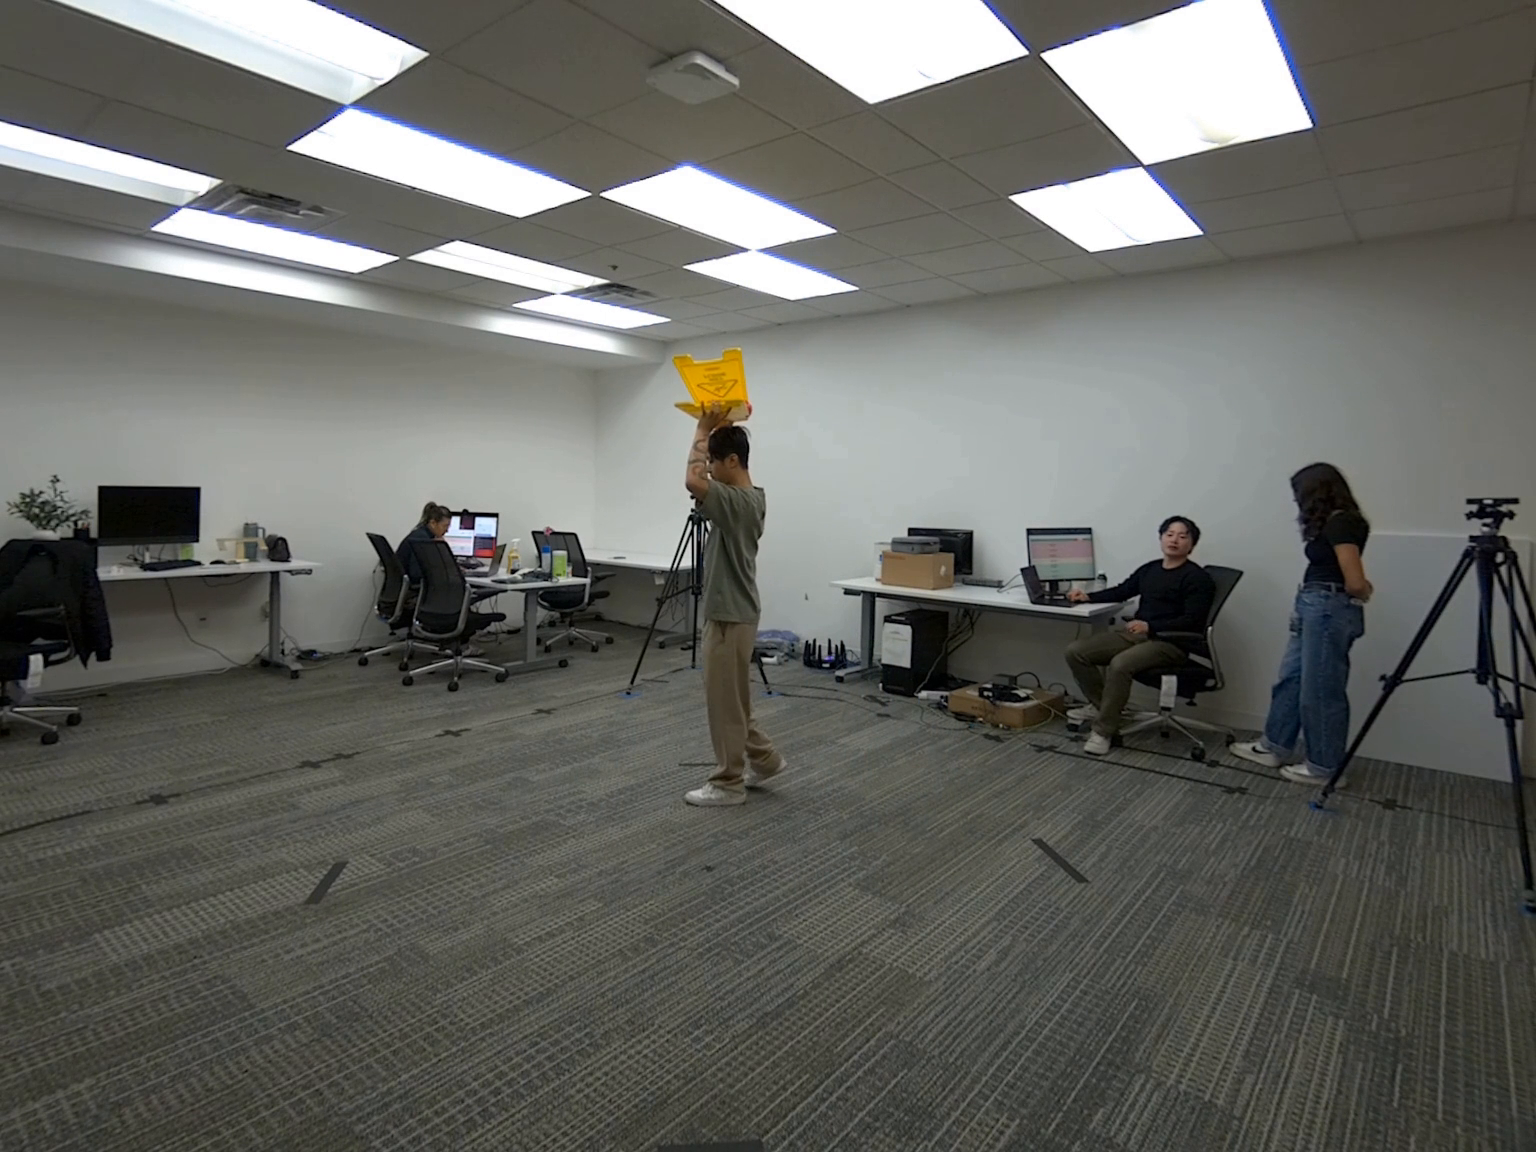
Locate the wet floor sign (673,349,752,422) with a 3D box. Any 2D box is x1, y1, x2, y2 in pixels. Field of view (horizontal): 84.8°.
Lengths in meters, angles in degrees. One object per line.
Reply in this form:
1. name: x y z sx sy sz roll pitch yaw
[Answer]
1. wet floor sign: -0.229 -0.766 3.687 0.284 0.291 0.639 -5 -4 4
